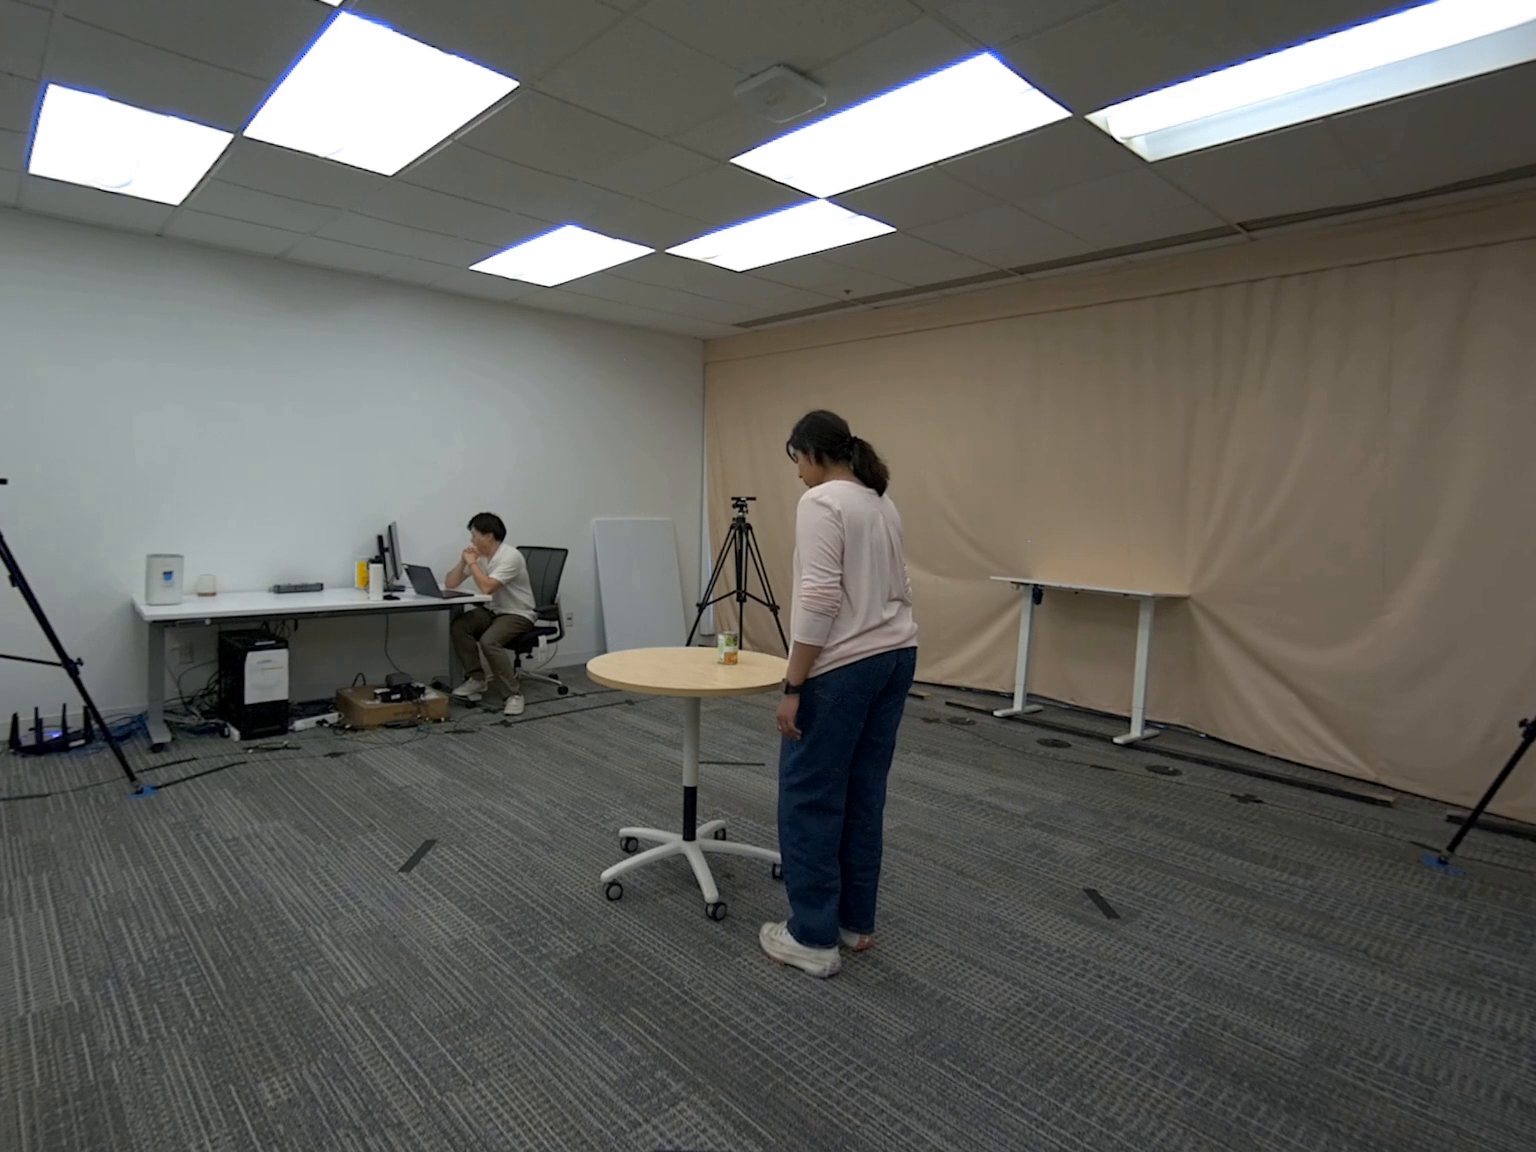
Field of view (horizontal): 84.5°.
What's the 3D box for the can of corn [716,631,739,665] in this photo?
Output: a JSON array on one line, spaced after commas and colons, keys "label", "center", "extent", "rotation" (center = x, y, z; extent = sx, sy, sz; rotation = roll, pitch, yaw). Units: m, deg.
[{"label": "can of corn", "center": [-0.153, 0.269, 3.116], "extent": [0.074, 0.111, 0.074], "rotation": [0, 2, -1]}]
